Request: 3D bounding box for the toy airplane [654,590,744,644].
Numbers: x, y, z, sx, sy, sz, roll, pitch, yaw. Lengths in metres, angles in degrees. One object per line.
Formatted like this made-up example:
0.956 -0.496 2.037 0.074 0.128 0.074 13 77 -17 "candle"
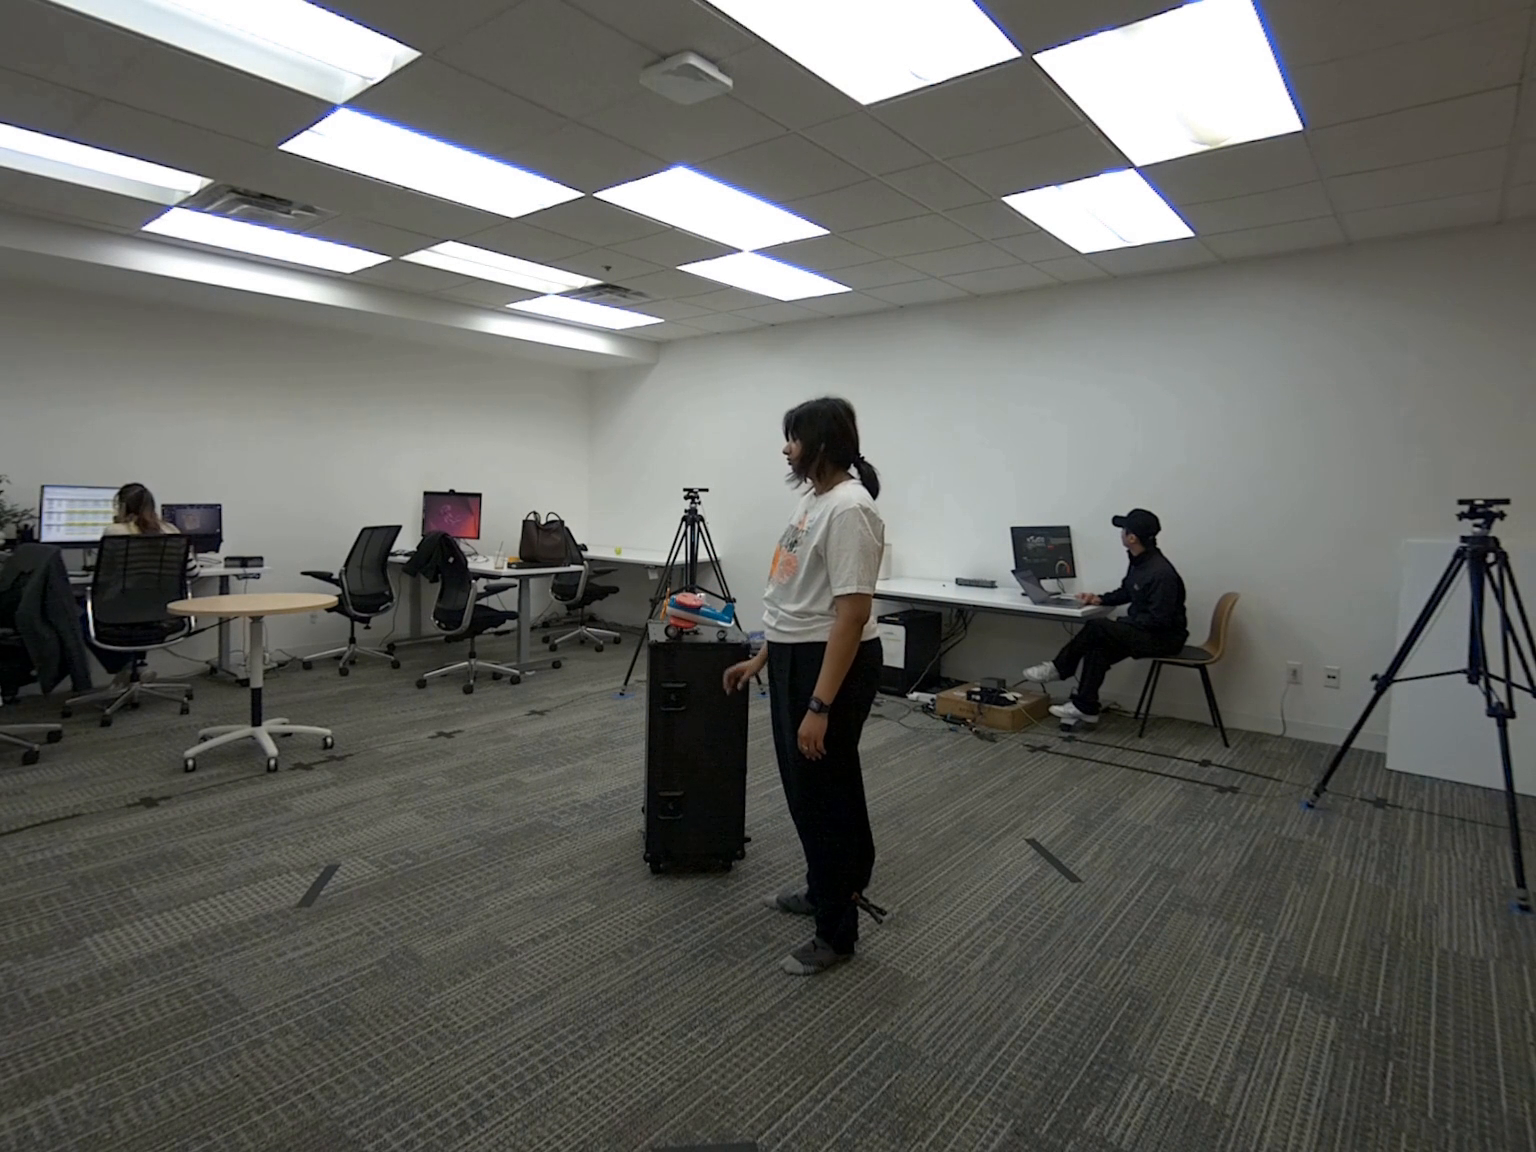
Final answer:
-0.260 0.144 3.087 0.254 0.156 0.257 0 4 -21 "toy airplane"
